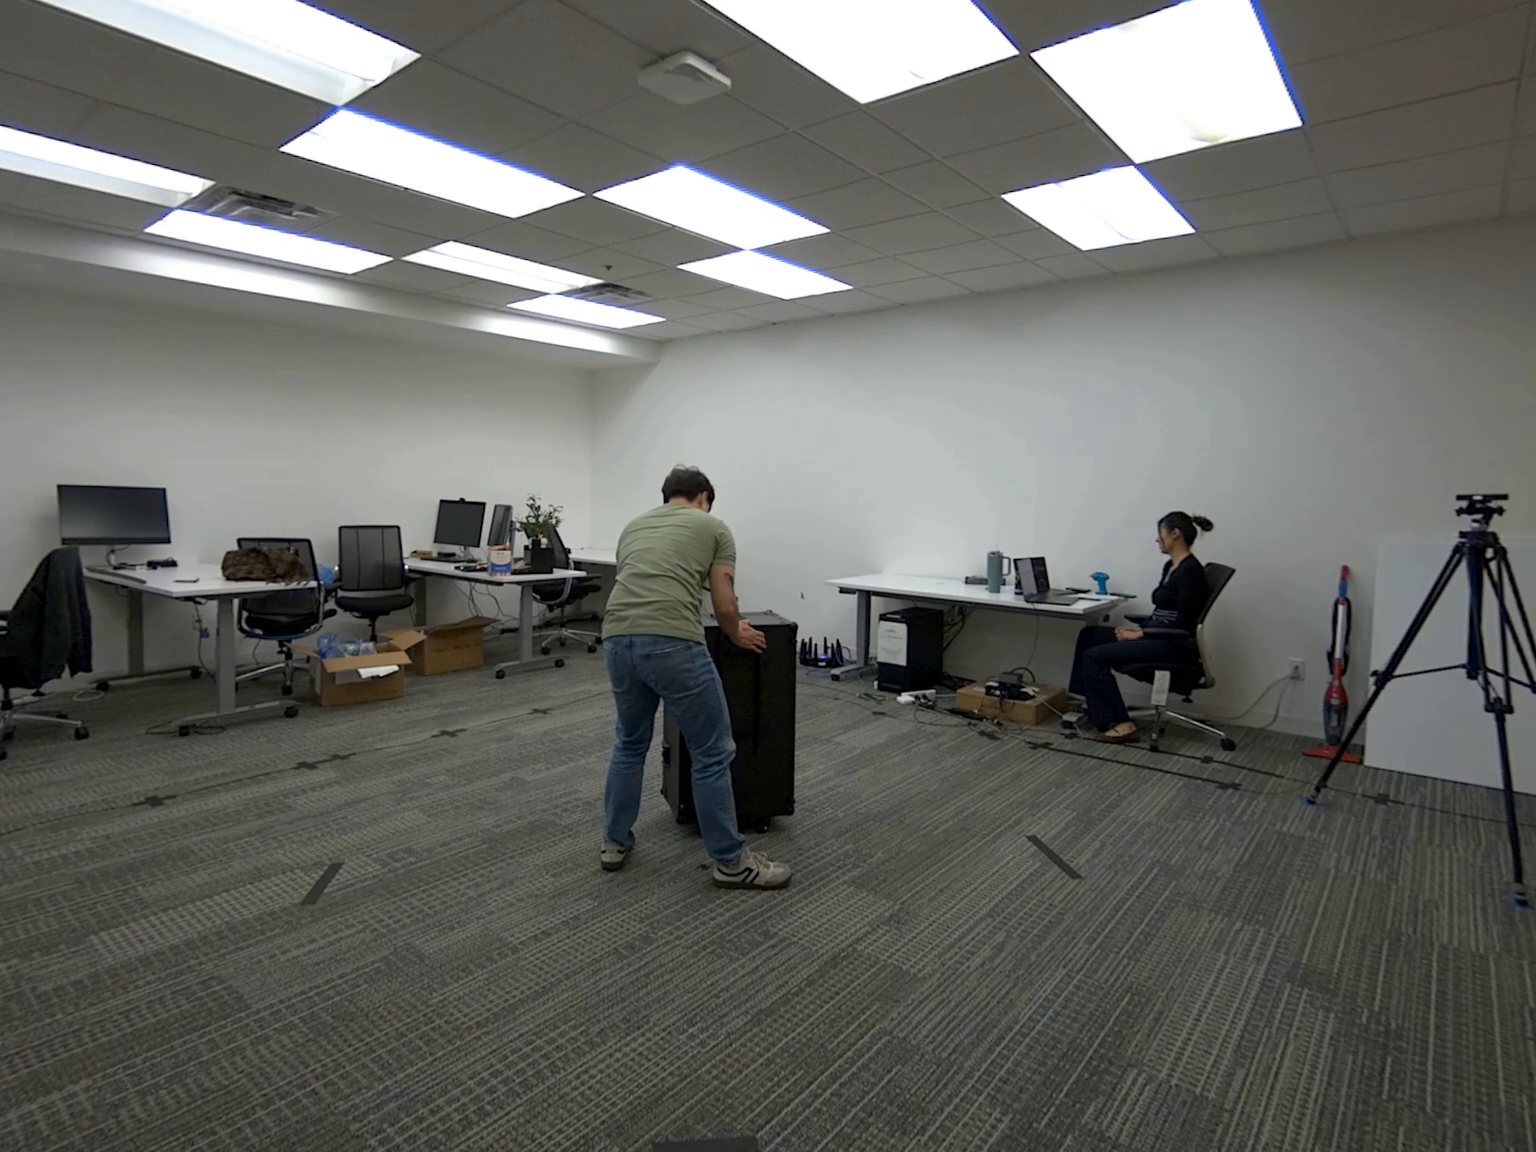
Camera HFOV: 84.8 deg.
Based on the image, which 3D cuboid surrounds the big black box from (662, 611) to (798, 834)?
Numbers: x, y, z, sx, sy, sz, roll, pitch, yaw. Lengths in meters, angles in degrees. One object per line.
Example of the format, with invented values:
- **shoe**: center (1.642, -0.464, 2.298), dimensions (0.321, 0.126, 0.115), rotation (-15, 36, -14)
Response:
- **big black box**: center (-0.177, 0.544, 3.528), dimensions (0.513, 0.859, 0.404), rotation (0, 3, -16)
